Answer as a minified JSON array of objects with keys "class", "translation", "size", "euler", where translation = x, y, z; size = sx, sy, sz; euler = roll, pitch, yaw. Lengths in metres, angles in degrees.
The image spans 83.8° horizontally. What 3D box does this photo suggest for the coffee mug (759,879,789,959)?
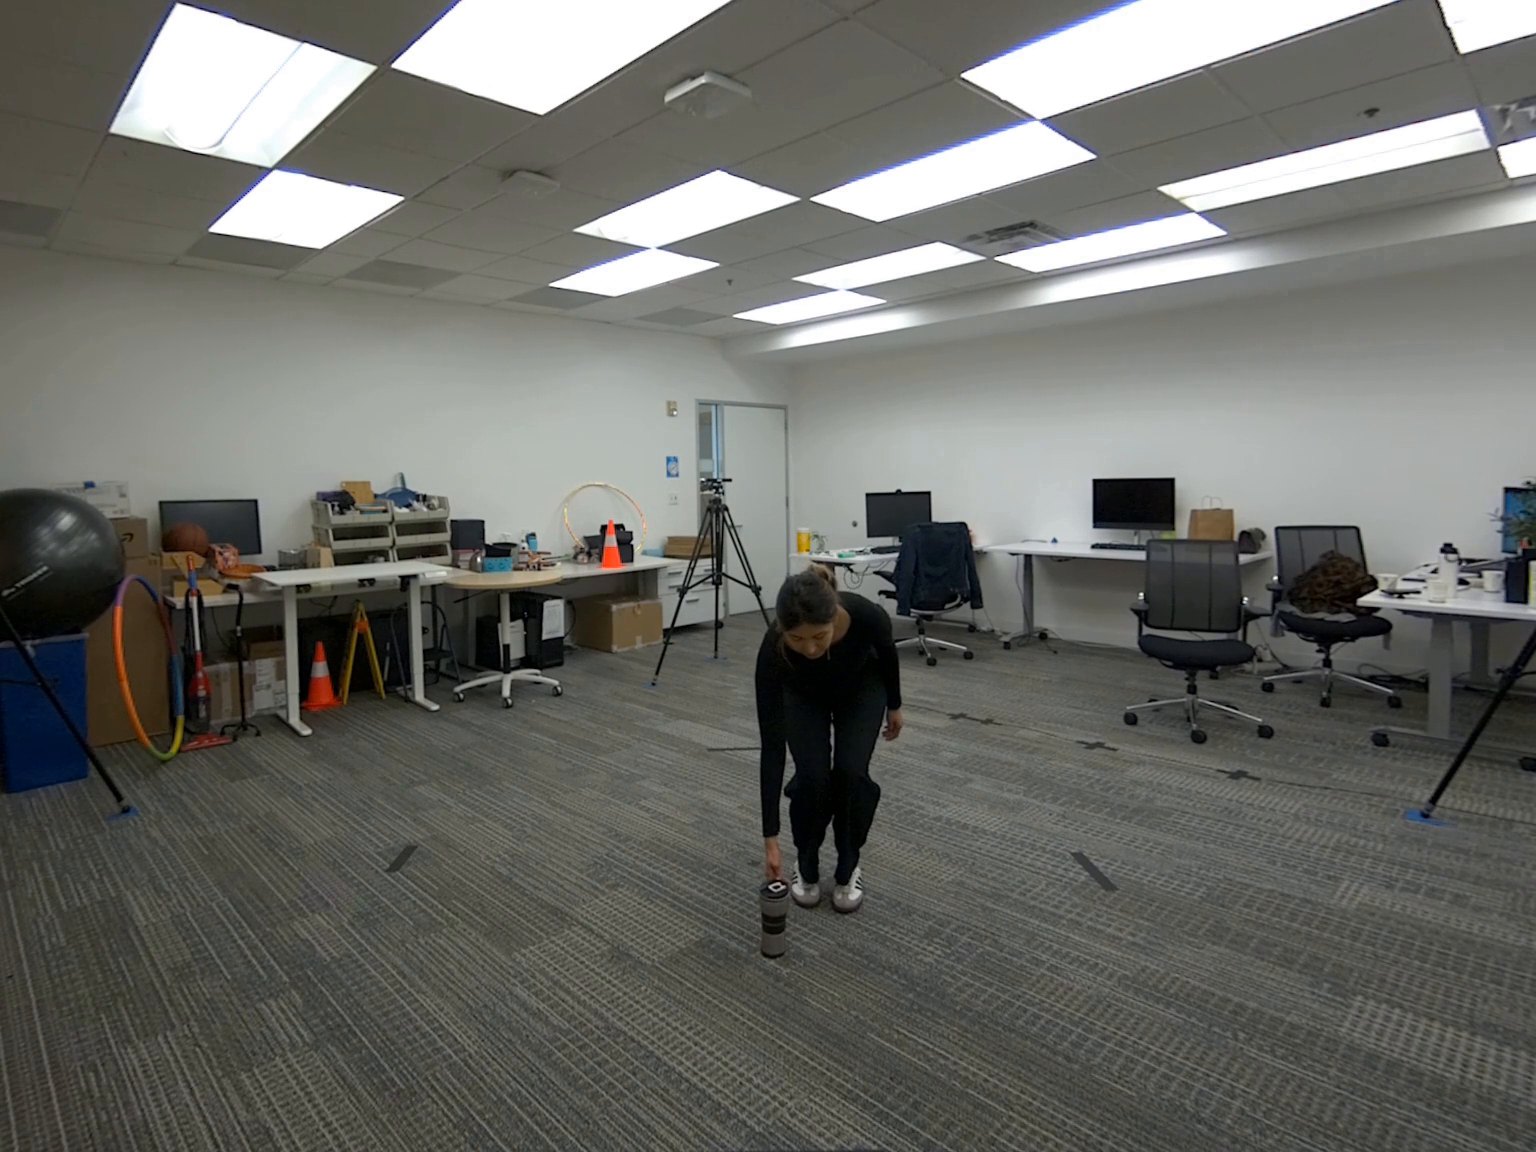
[{"class":"coffee mug","translation":[0.033,1.014,2.522],"size":[0.090,0.201,0.119],"euler":[2,11,44]}]
